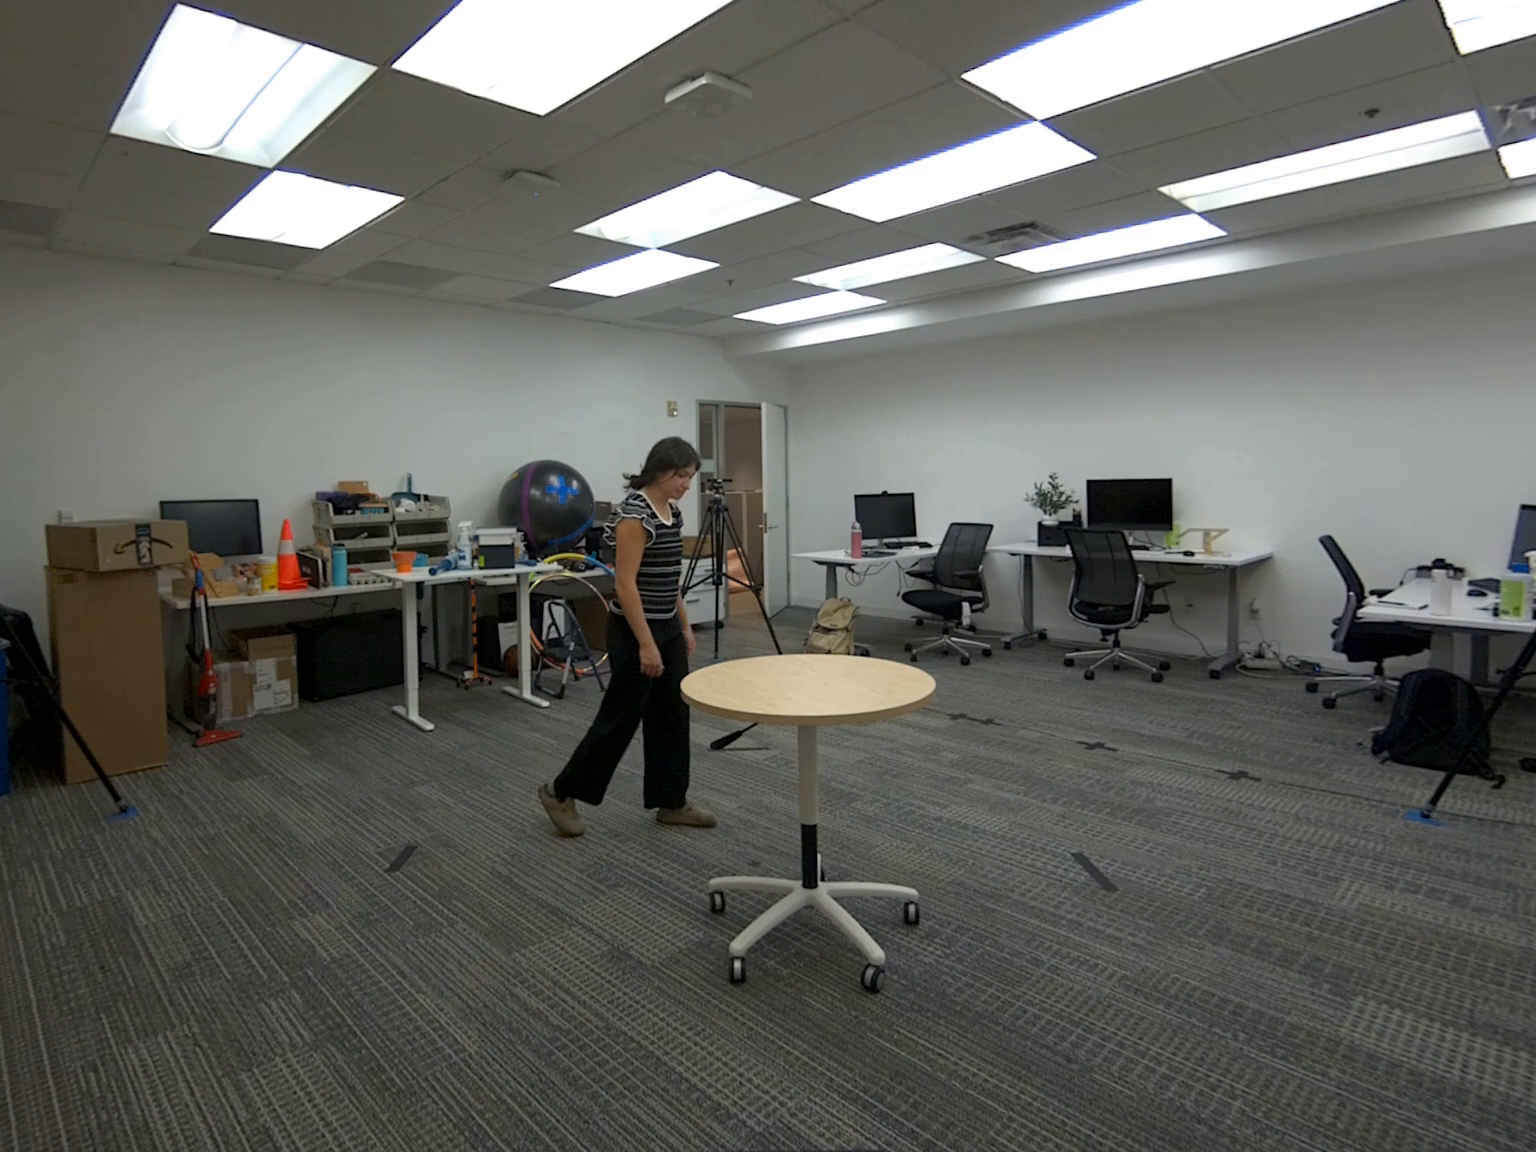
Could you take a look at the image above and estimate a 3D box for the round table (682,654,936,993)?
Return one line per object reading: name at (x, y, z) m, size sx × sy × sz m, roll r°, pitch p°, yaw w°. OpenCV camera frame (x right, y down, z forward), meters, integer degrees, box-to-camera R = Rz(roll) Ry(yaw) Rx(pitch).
round table at (0.133, 0.711, 2.618) m, size 0.763 × 0.791 × 0.768 m, roll -2°, pitch 5°, yaw -2°
